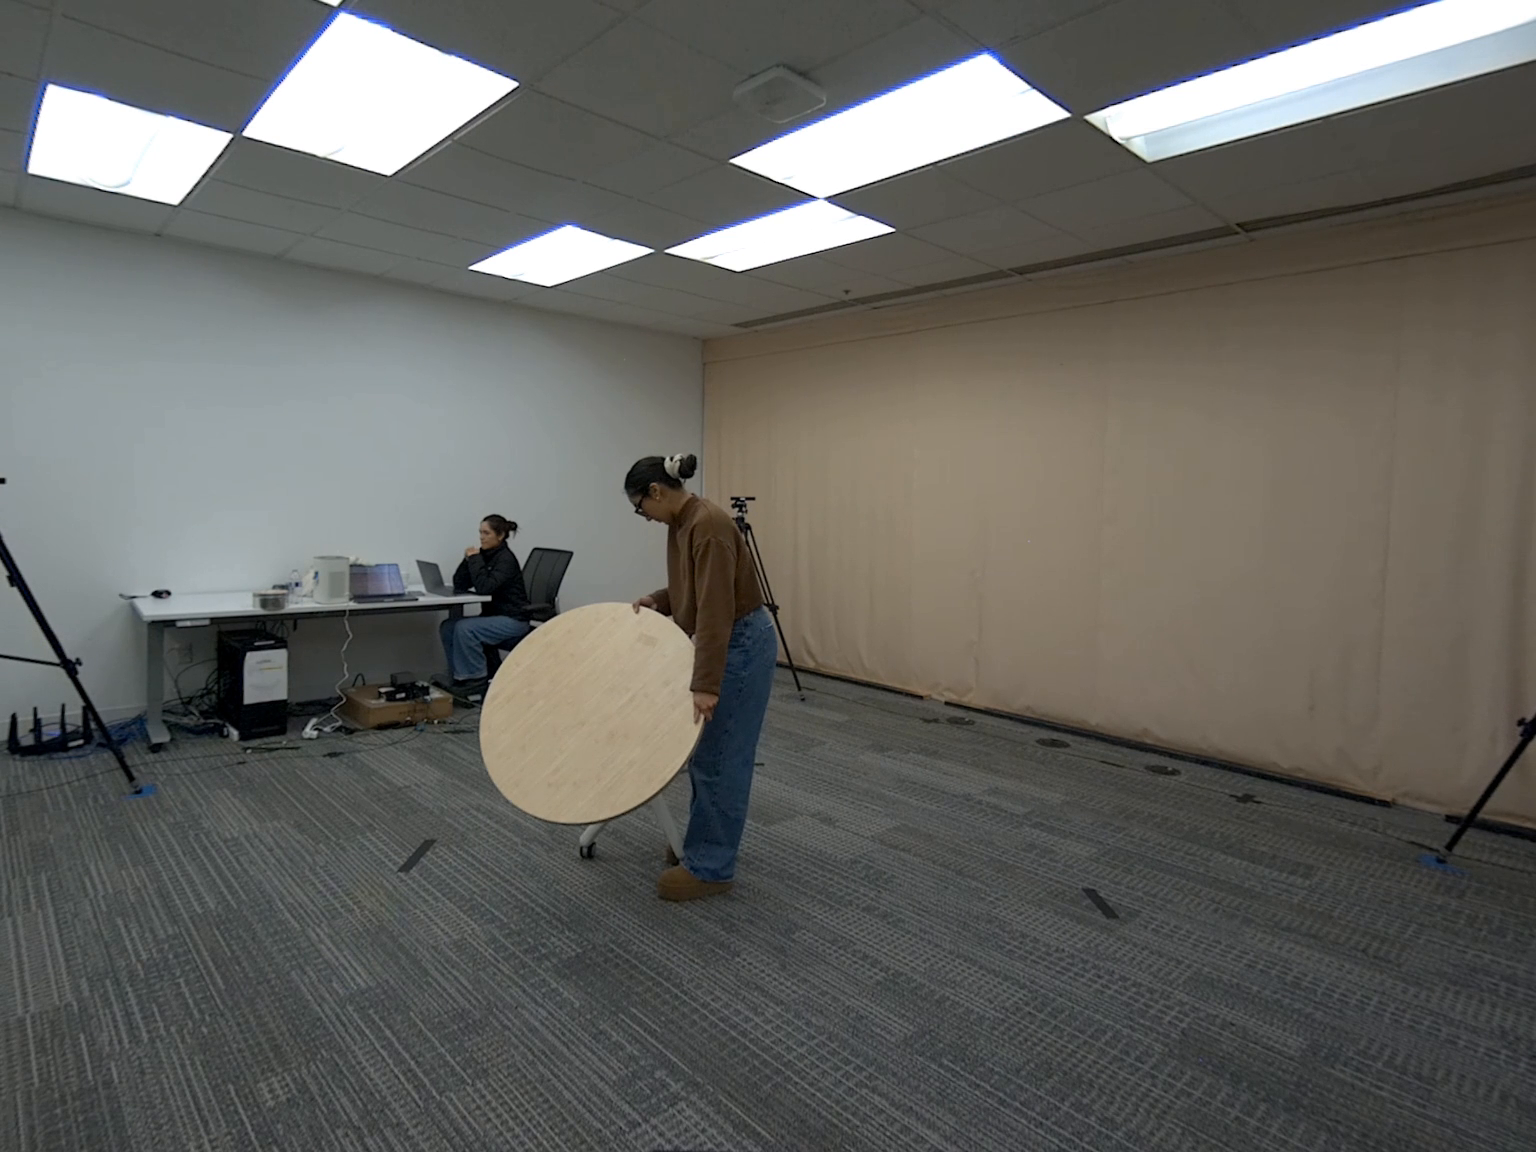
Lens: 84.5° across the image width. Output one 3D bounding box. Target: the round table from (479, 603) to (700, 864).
[{"bbox_3d":[-0.531,0.629,3.055,0.772,0.776,0.773,2,-34,12],"label":"round table"}]
